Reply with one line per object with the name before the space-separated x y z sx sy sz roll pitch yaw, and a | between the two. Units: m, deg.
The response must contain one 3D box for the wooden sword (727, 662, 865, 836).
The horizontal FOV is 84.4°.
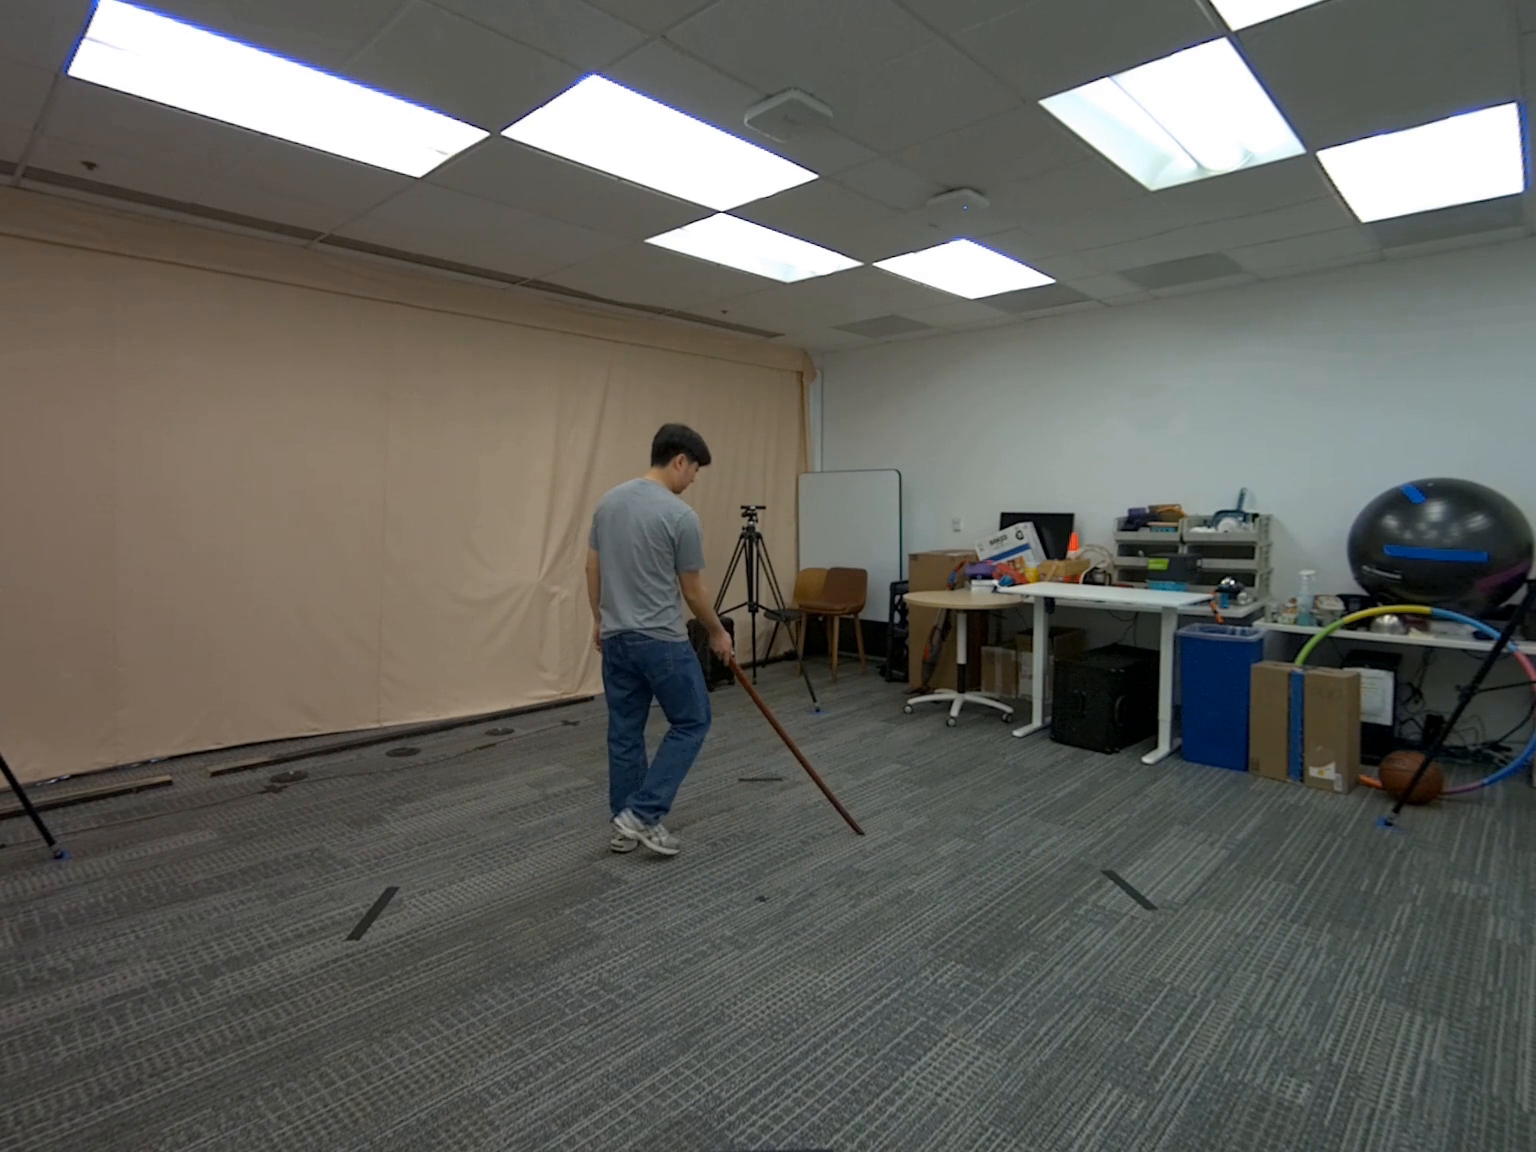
wooden sword | 0.089 0.700 3.559 0.024 1.022 0.051 -37 2 18
